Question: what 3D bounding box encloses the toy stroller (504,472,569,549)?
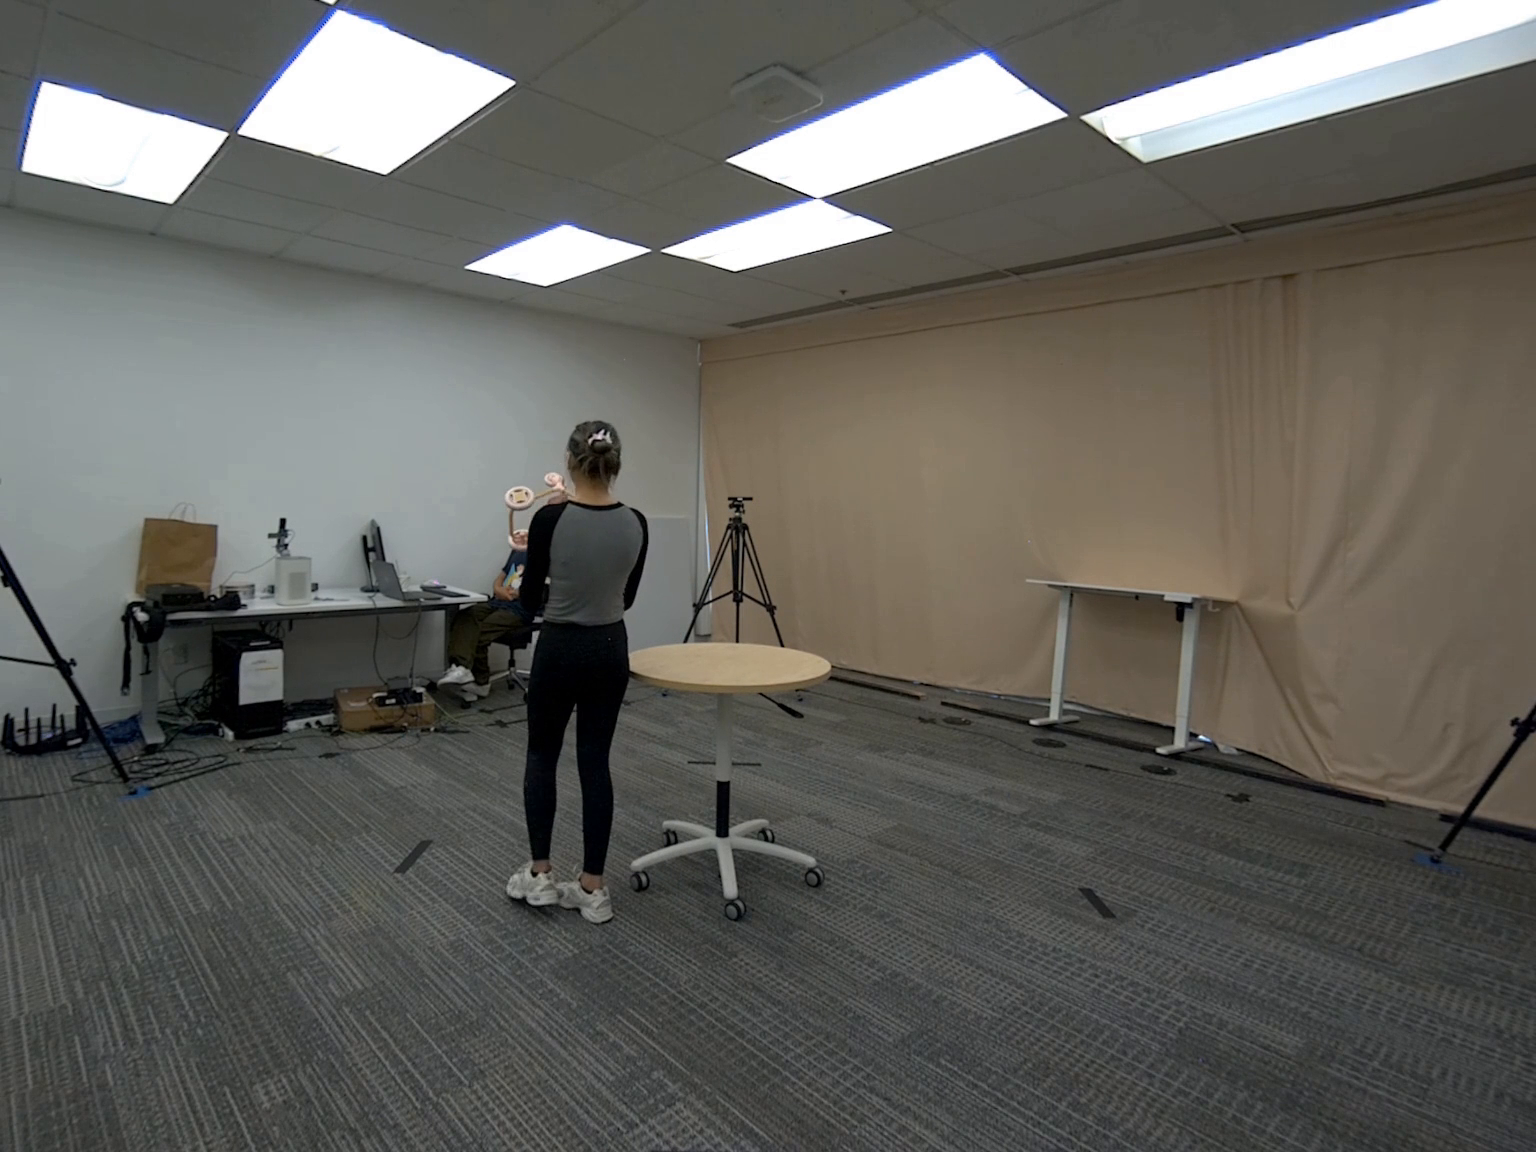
[{"bbox_3d":[-0.782,-0.185,3.262,0.546,0.277,0.339,39,49,20],"label":"toy stroller"}]
